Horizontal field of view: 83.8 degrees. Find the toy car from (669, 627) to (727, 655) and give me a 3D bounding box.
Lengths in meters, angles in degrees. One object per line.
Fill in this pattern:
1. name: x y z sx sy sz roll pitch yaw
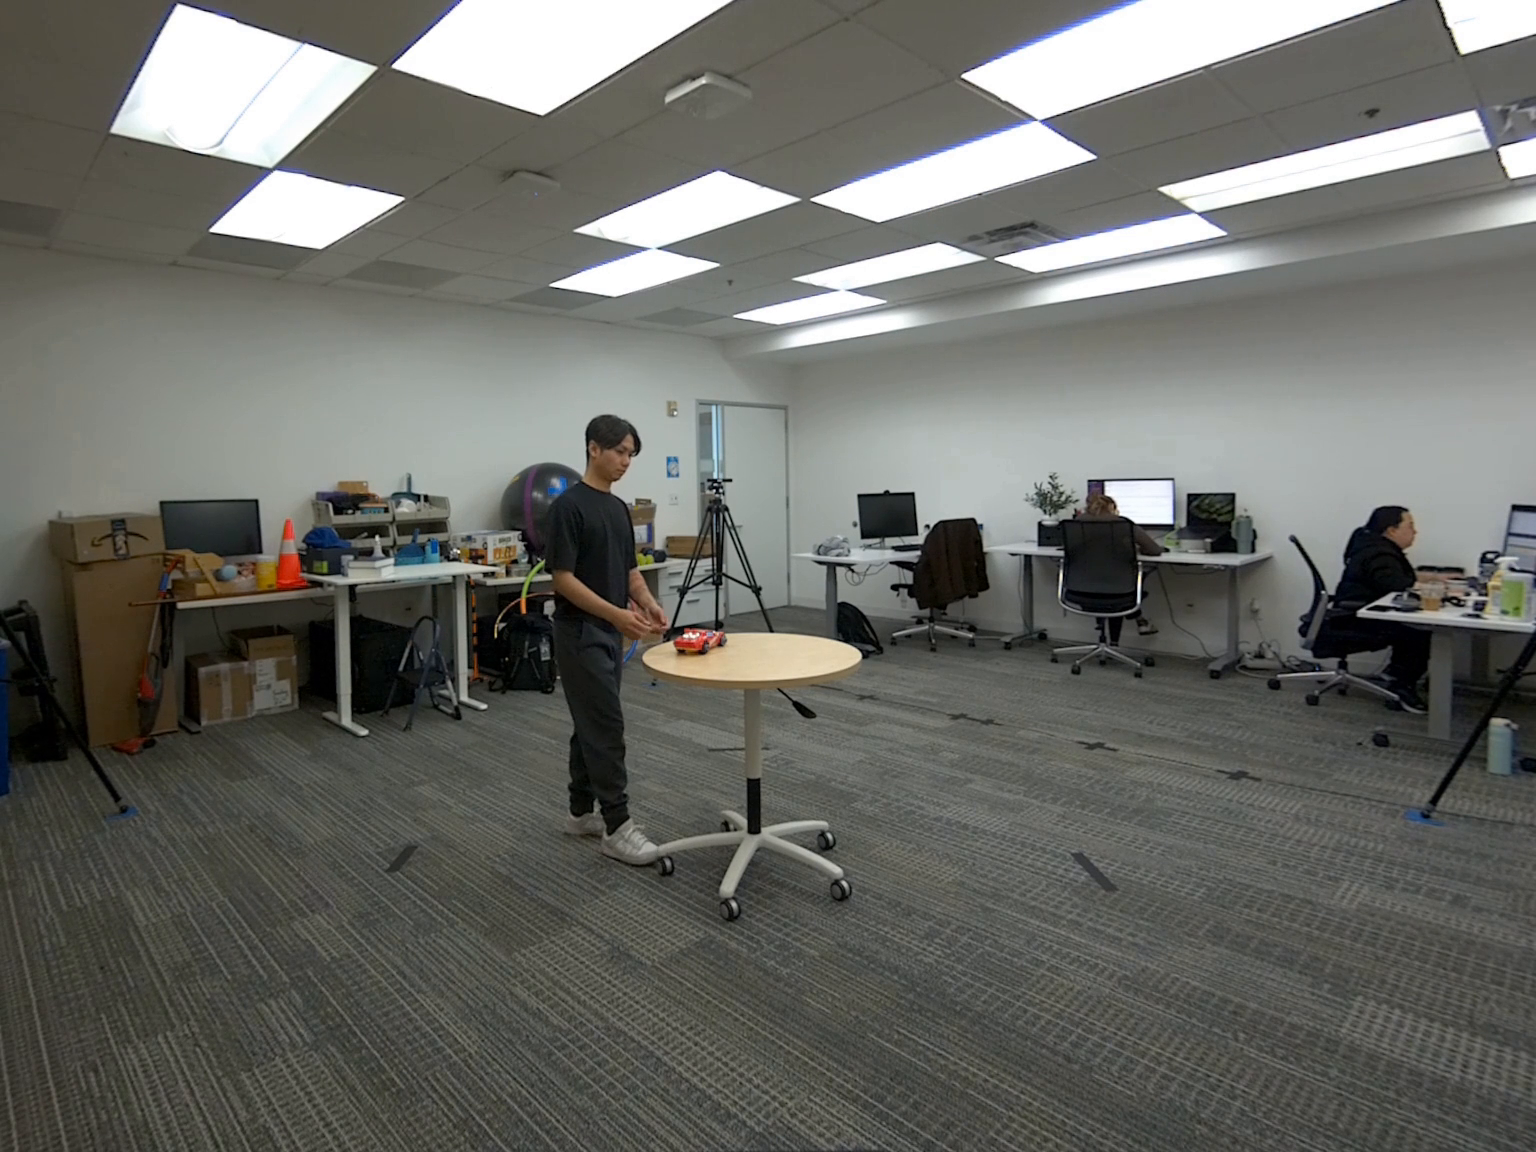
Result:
1. toy car: -0.247 0.236 3.075 0.133 0.083 0.248 2 -4 24
